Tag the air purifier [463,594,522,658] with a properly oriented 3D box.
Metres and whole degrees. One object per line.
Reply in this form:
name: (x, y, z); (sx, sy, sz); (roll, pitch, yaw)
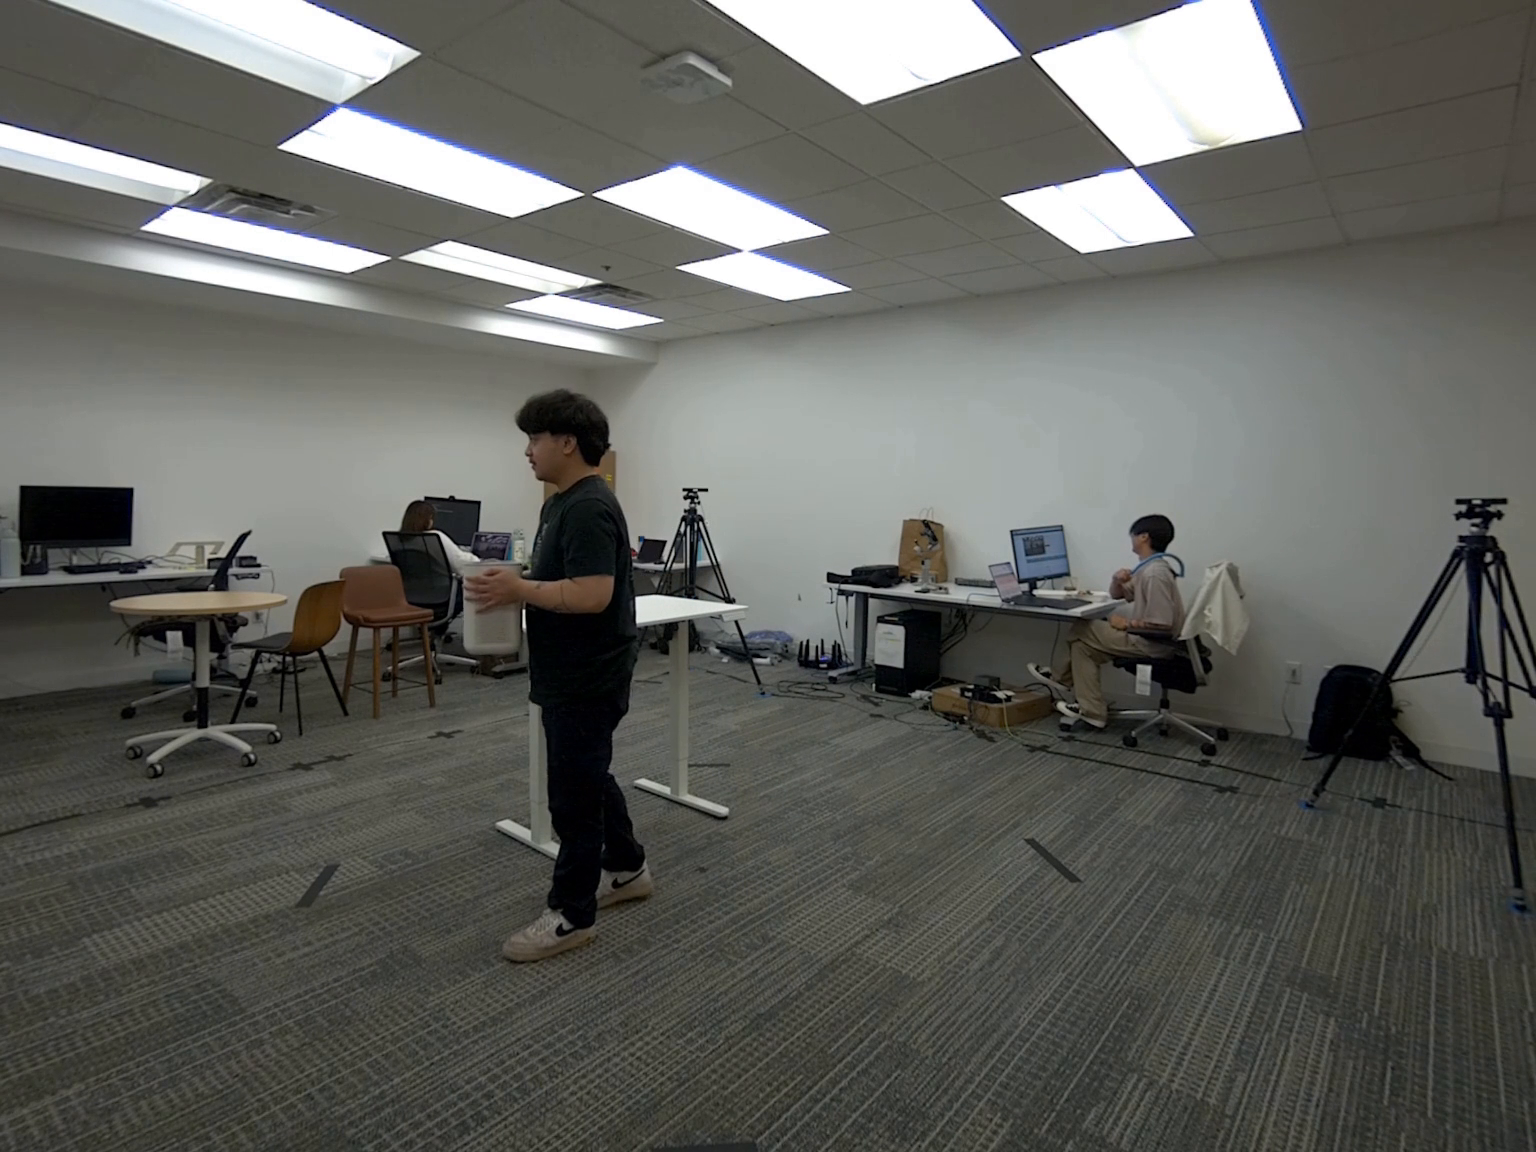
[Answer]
air purifier: (-0.831, 0.092, 2.537); (0.169, 0.264, 0.174); (0, 5, -12)
